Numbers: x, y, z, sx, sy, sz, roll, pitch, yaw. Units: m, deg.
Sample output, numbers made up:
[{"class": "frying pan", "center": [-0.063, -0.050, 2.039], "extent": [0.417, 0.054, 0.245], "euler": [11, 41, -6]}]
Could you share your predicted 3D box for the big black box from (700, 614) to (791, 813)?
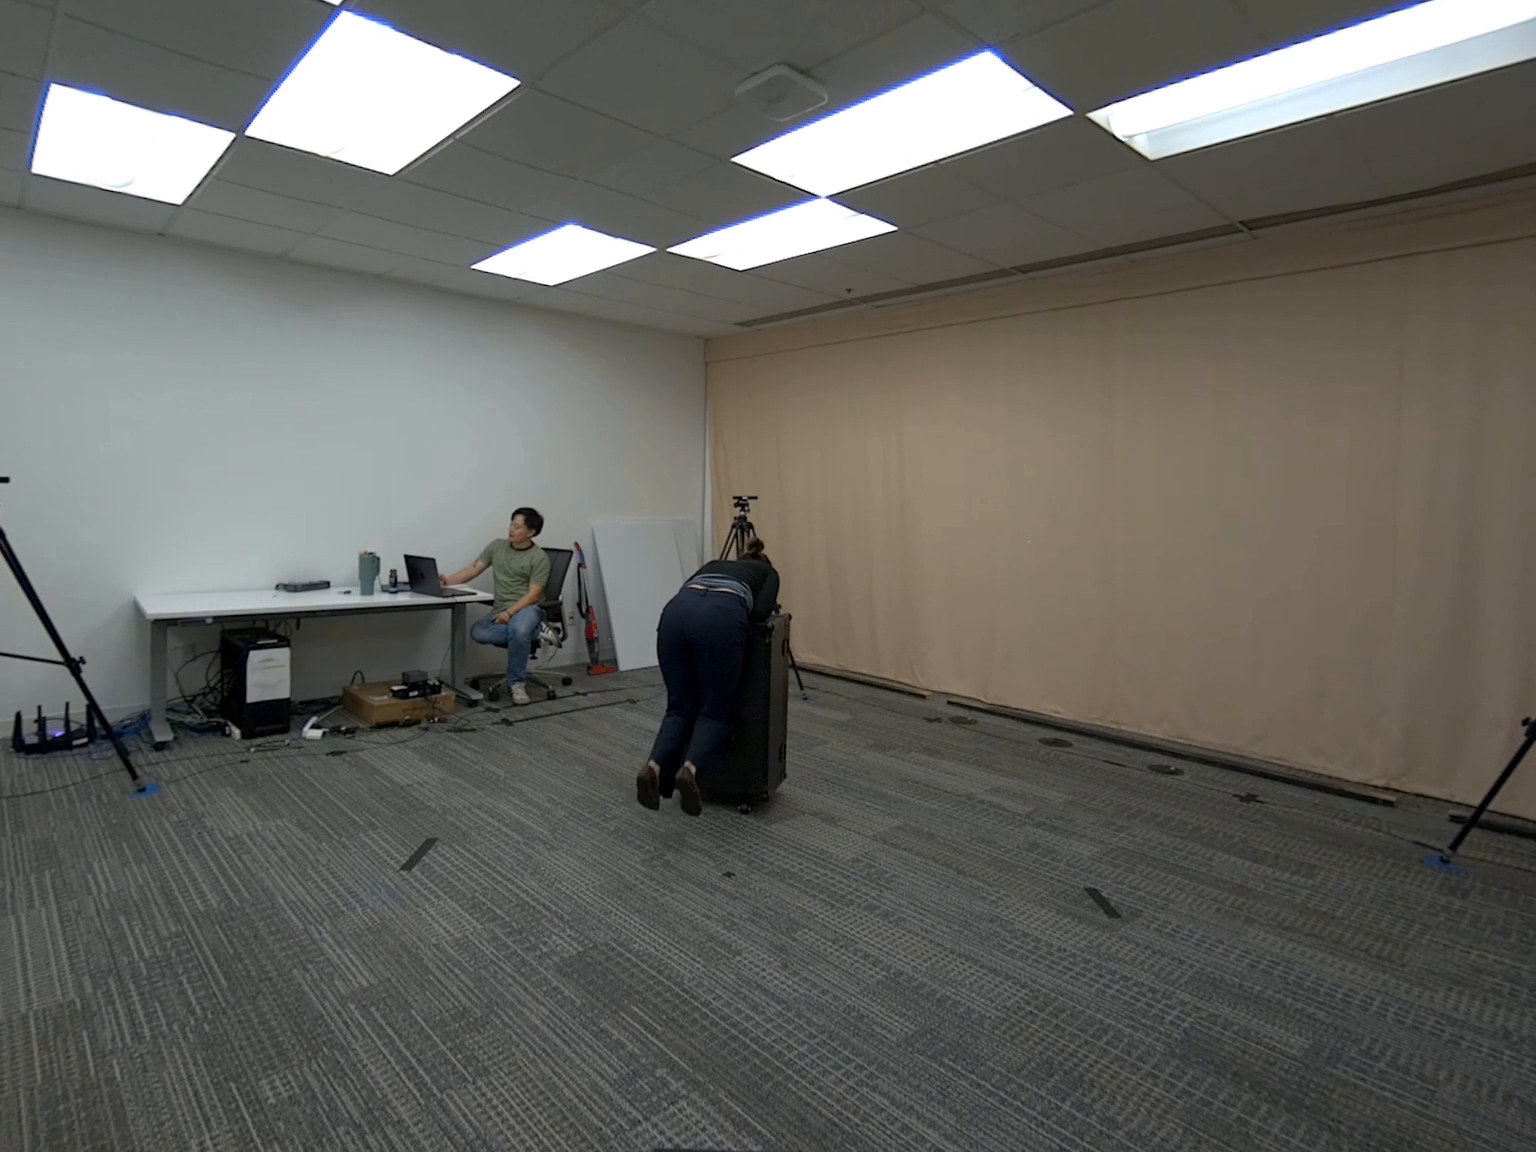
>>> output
[{"class": "big black box", "center": [-0.181, 0.618, 3.892], "extent": [0.529, 0.858, 0.392], "euler": [4, 5, 18]}]
